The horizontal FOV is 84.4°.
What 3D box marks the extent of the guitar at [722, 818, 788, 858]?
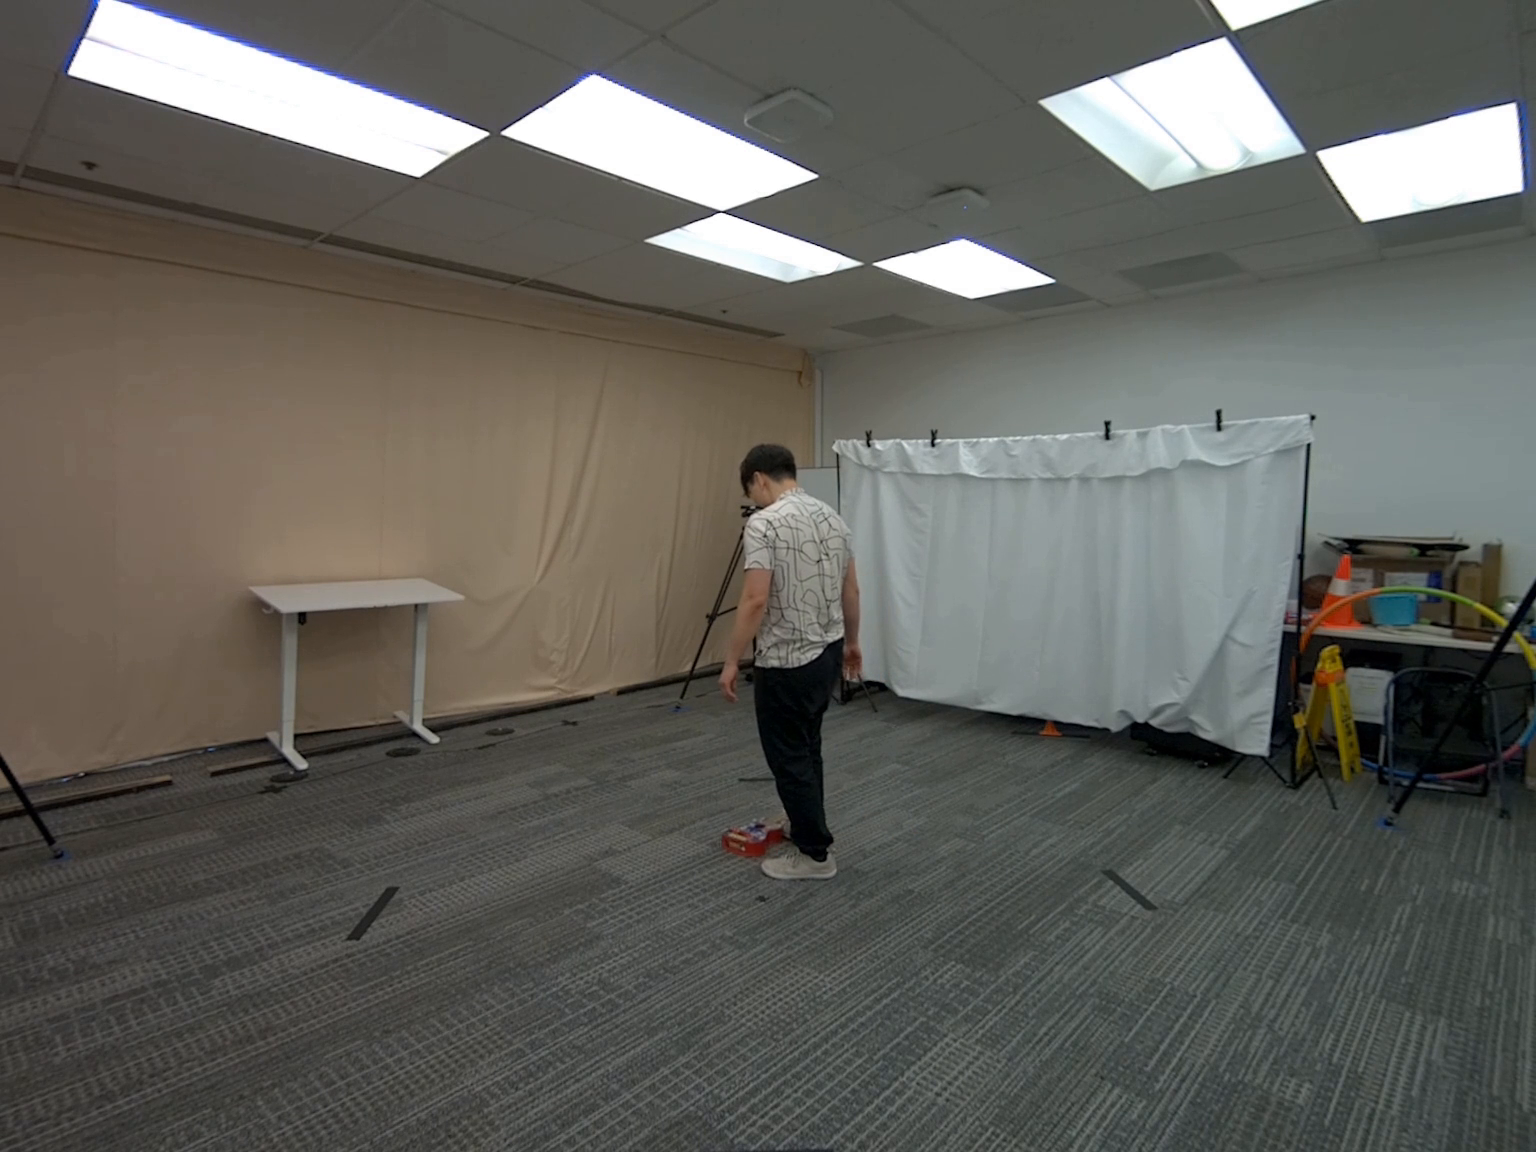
[{"bbox_3d":[0.036,1.064,3.536,0.483,0.070,0.199,-5,7,-42],"label":"guitar"}]
